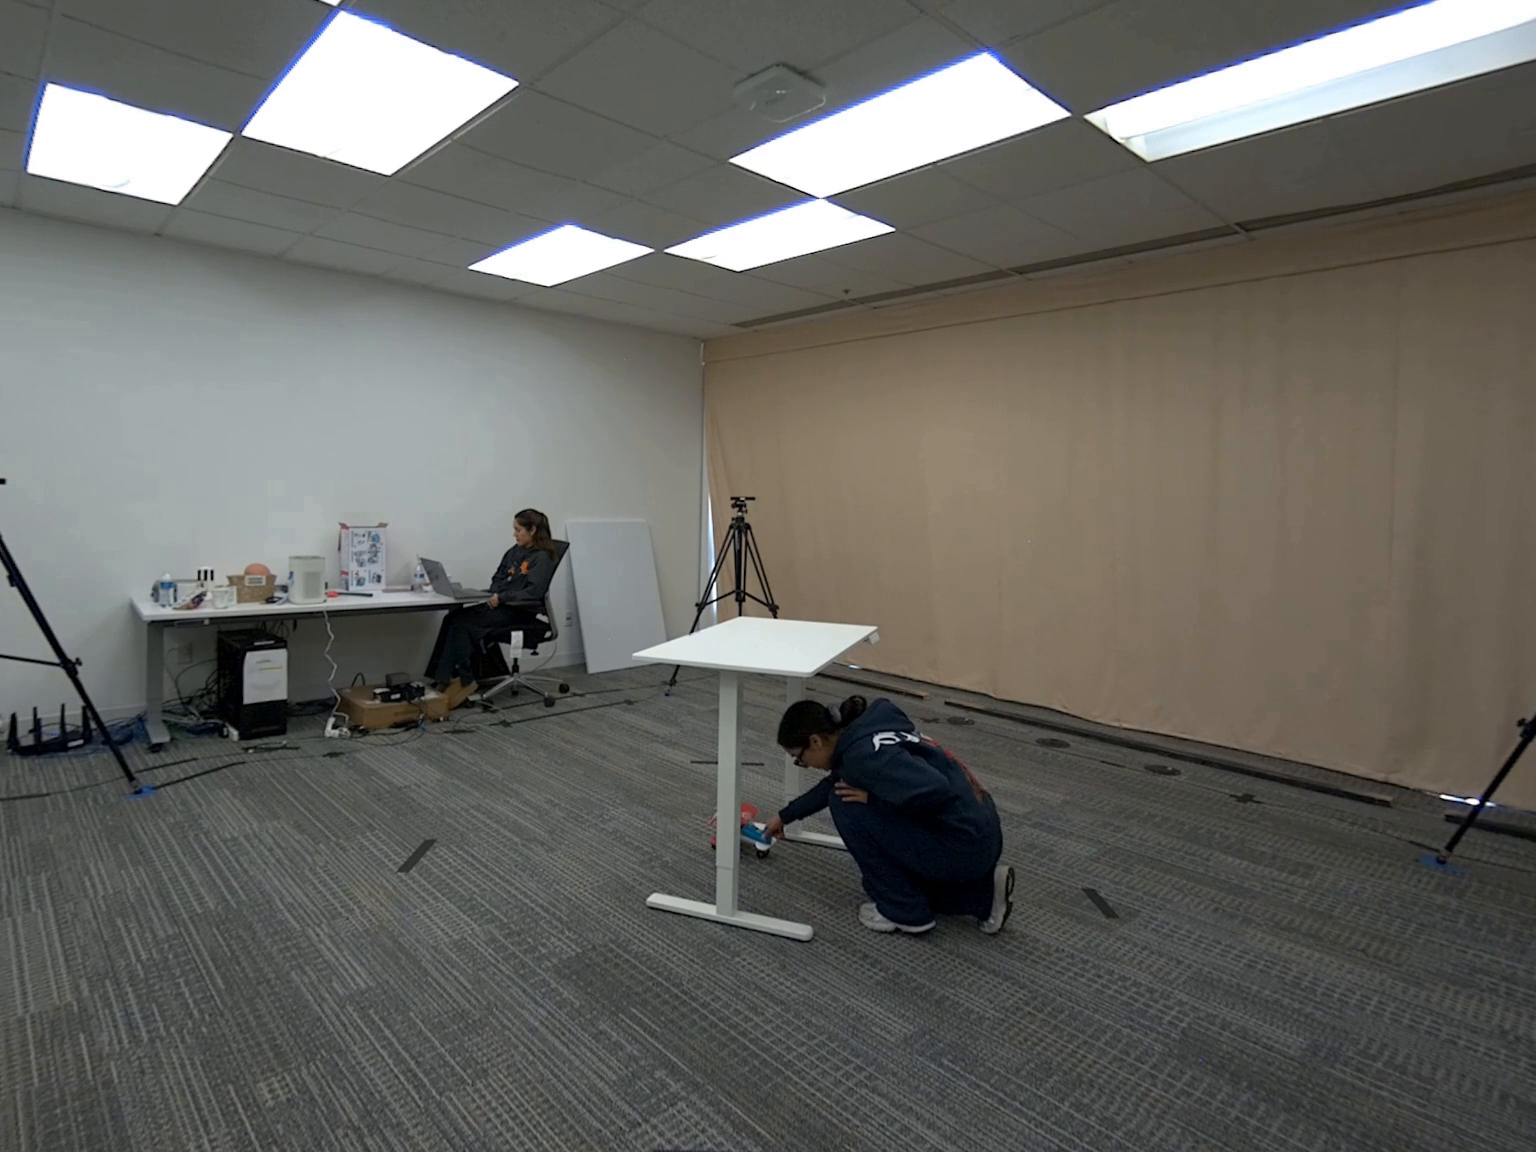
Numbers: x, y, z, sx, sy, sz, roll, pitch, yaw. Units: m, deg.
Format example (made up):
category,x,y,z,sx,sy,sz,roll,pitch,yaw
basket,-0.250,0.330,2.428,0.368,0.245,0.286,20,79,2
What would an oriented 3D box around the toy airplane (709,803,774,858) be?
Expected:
category,x,y,z,sx,sy,sz,roll,pitch,yaw
toy airplane,-0.099,1.016,3.346,0.259,0.156,0.252,-1,5,-1
